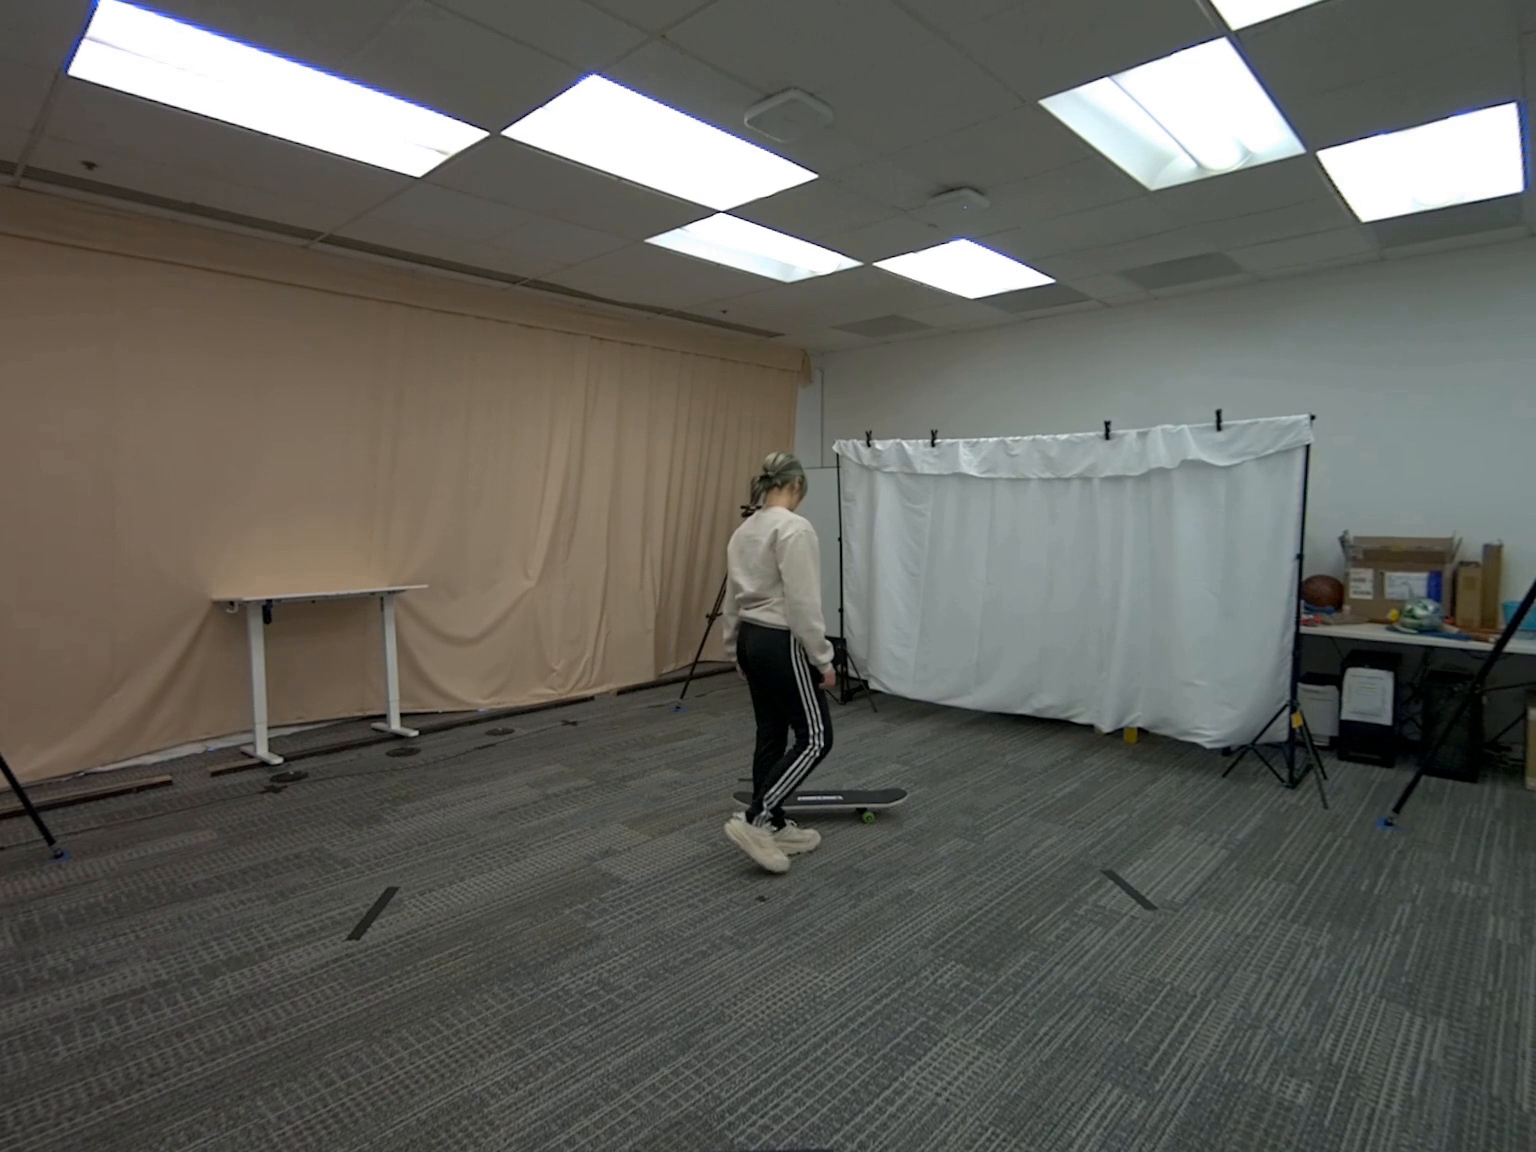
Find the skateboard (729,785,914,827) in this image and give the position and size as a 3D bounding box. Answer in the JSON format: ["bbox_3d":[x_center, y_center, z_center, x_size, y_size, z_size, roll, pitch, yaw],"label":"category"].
[{"bbox_3d":[0.226,1.020,3.753,0.782,0.110,0.194,0,3,-4],"label":"skateboard"}]
